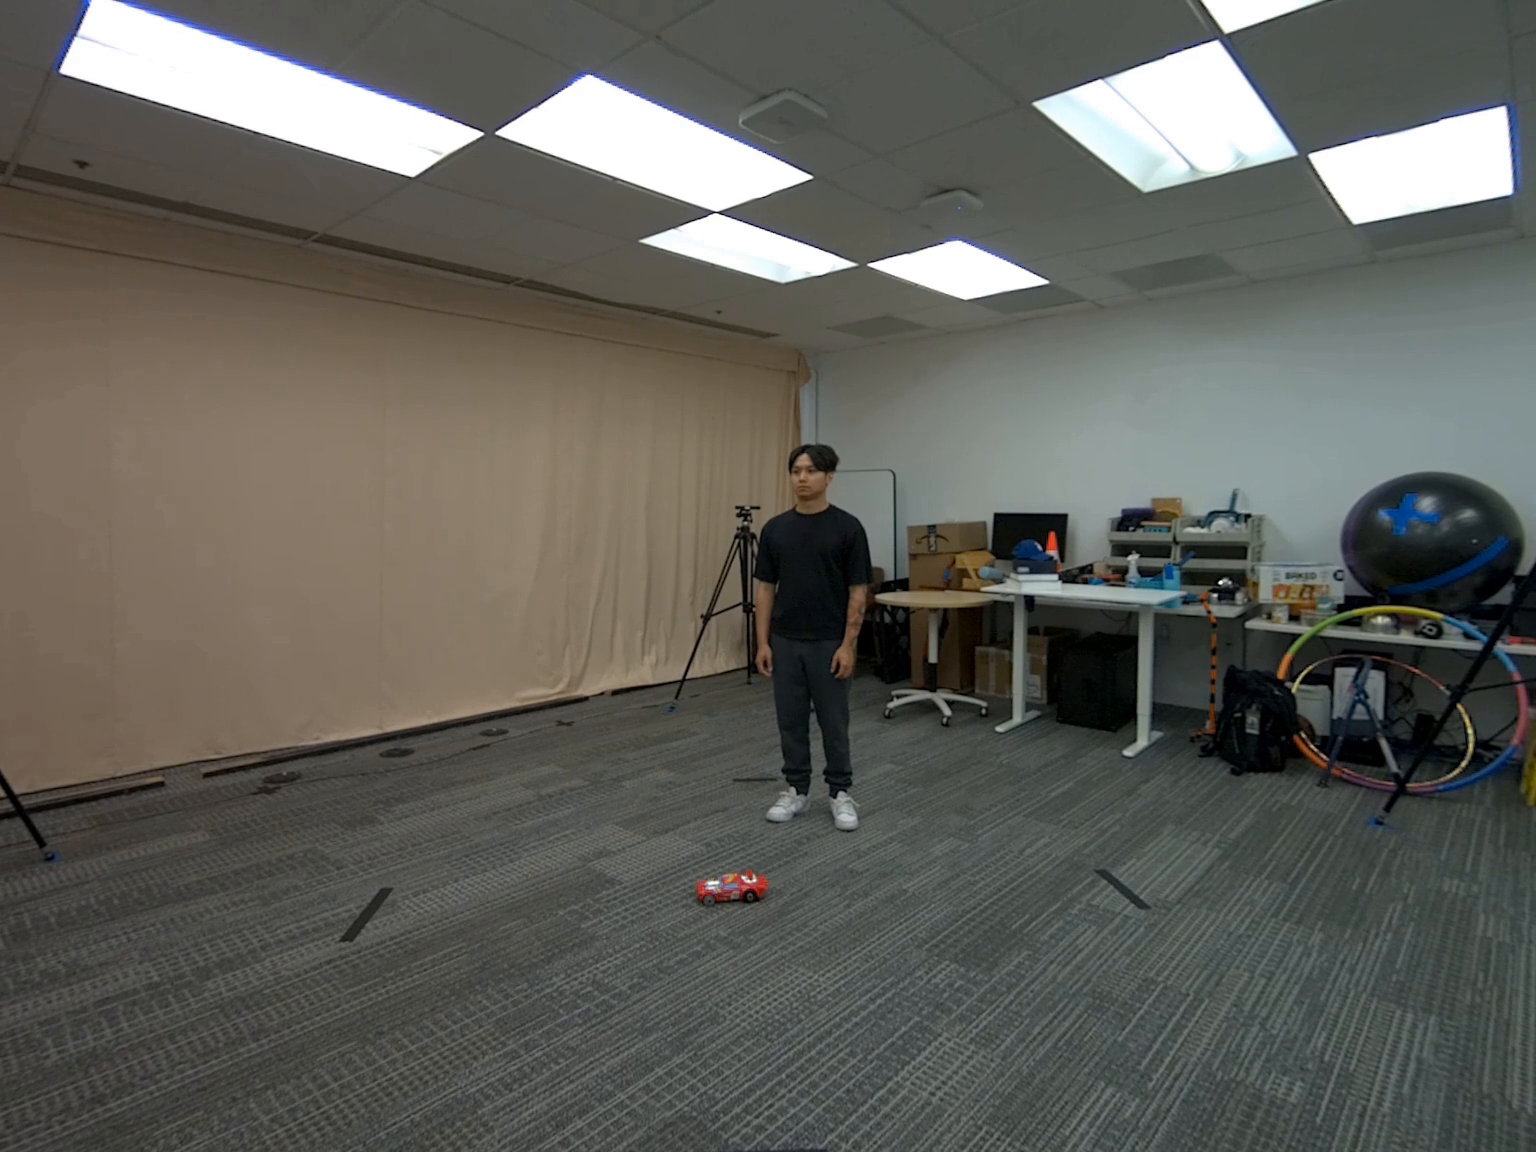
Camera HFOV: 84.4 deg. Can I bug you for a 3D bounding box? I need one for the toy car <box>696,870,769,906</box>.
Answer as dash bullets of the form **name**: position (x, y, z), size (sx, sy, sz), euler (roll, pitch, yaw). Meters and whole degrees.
- **toy car**: position (-0.120, 1.112, 2.996), size (0.253, 0.083, 0.132), euler (-13, 7, -8)
